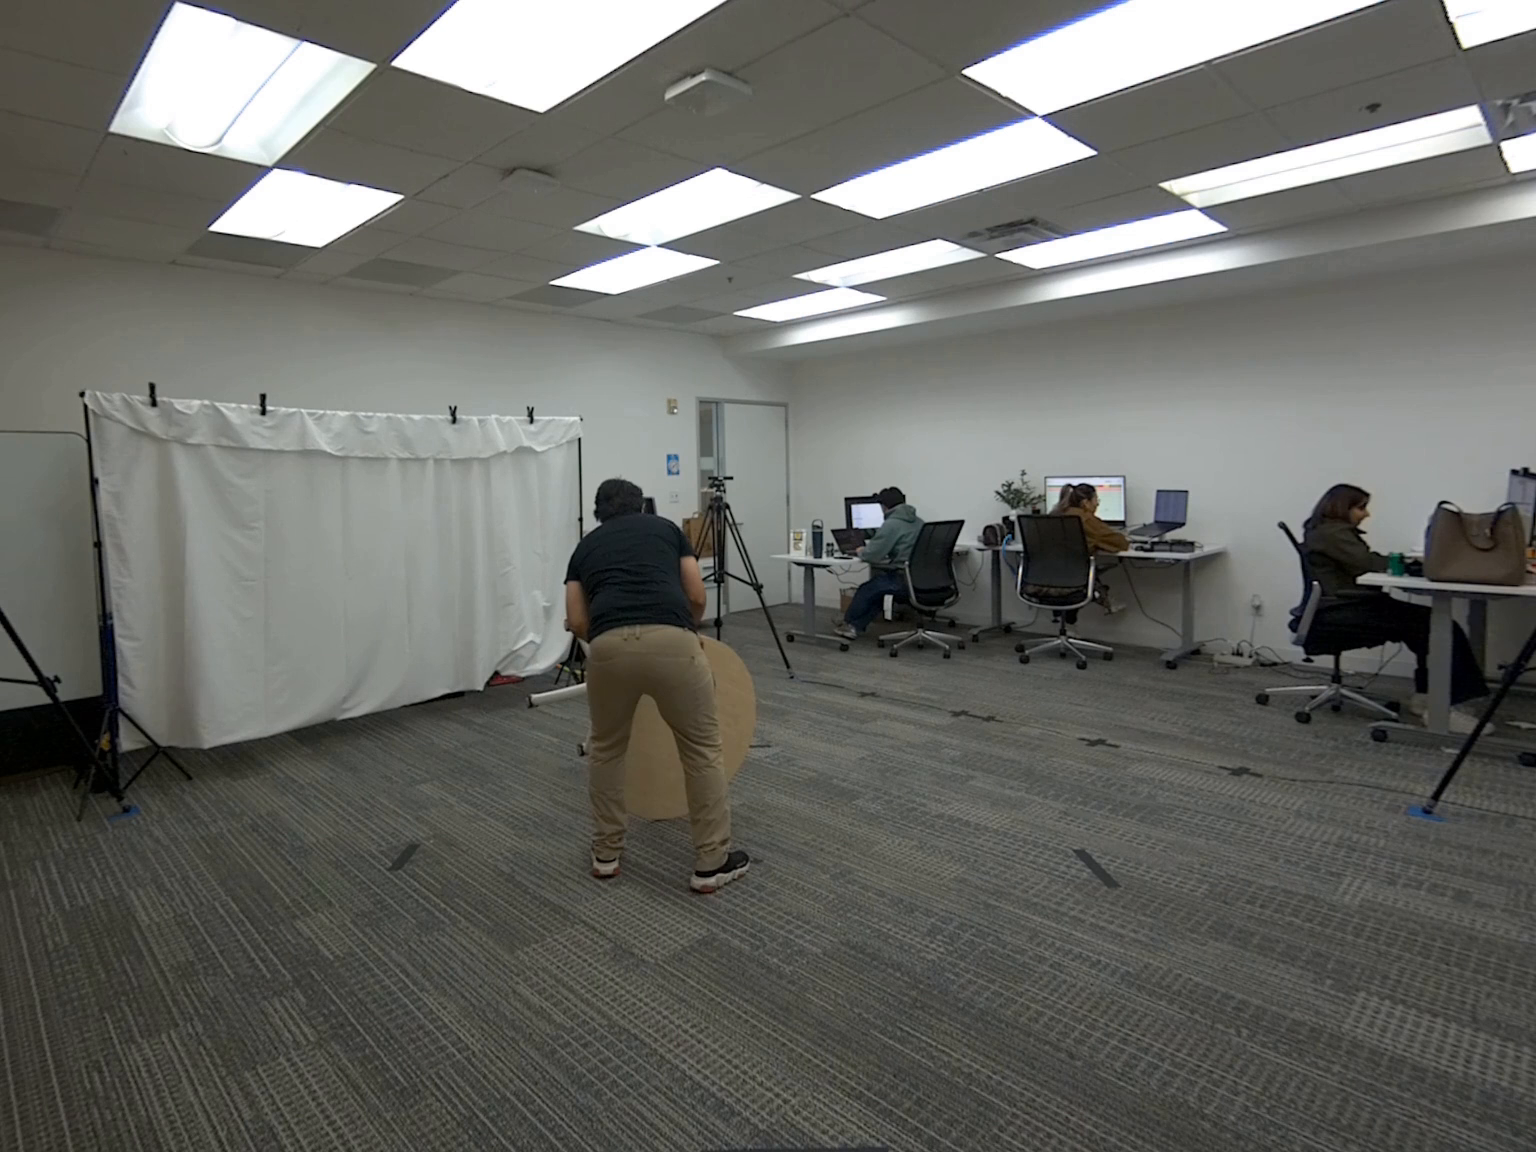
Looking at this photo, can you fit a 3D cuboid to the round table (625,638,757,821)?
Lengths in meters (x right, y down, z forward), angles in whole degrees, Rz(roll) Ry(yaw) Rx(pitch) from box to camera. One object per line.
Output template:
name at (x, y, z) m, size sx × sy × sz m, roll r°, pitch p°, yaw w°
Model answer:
round table at (-0.595, 0.551, 3.813) m, size 0.765 × 0.779 × 0.812 m, roll -5°, pitch 11°, yaw -35°
